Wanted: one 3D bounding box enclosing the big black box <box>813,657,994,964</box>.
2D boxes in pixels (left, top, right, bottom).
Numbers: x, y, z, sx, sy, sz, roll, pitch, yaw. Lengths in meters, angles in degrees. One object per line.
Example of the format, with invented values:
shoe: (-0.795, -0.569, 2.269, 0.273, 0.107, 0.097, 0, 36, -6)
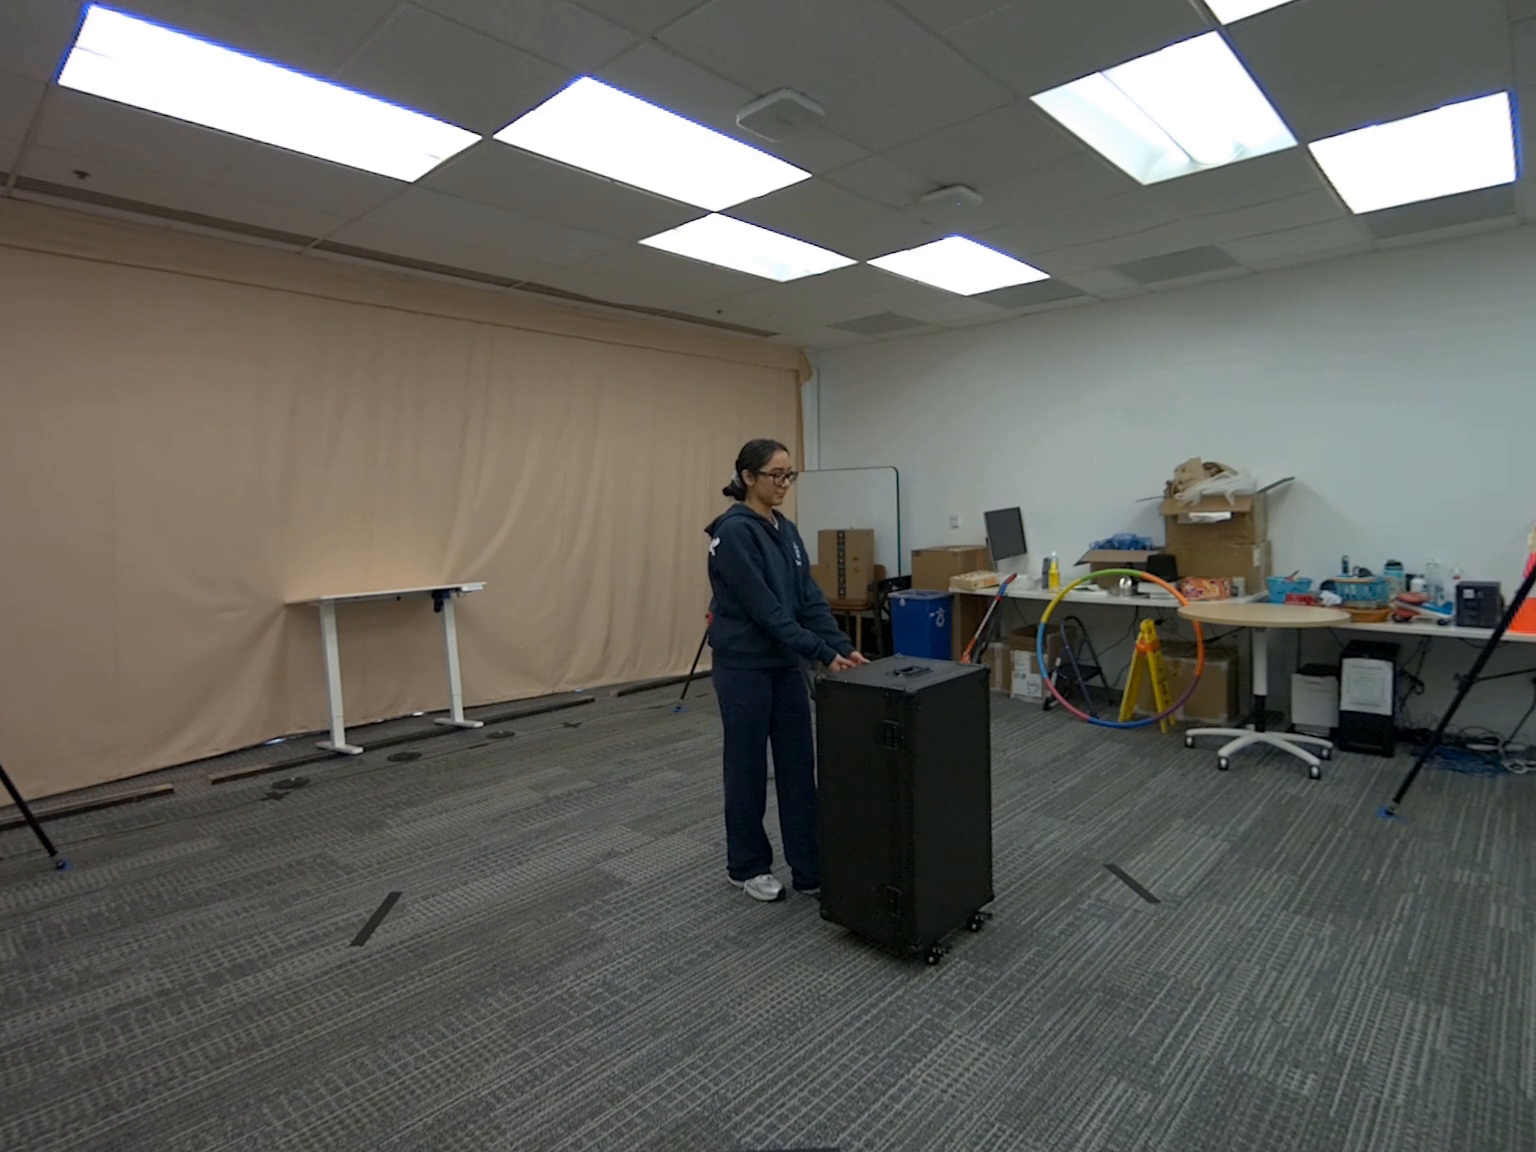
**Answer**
big black box: (0.447, 0.737, 2.721, 0.409, 0.860, 0.505, -1, 3, 43)
